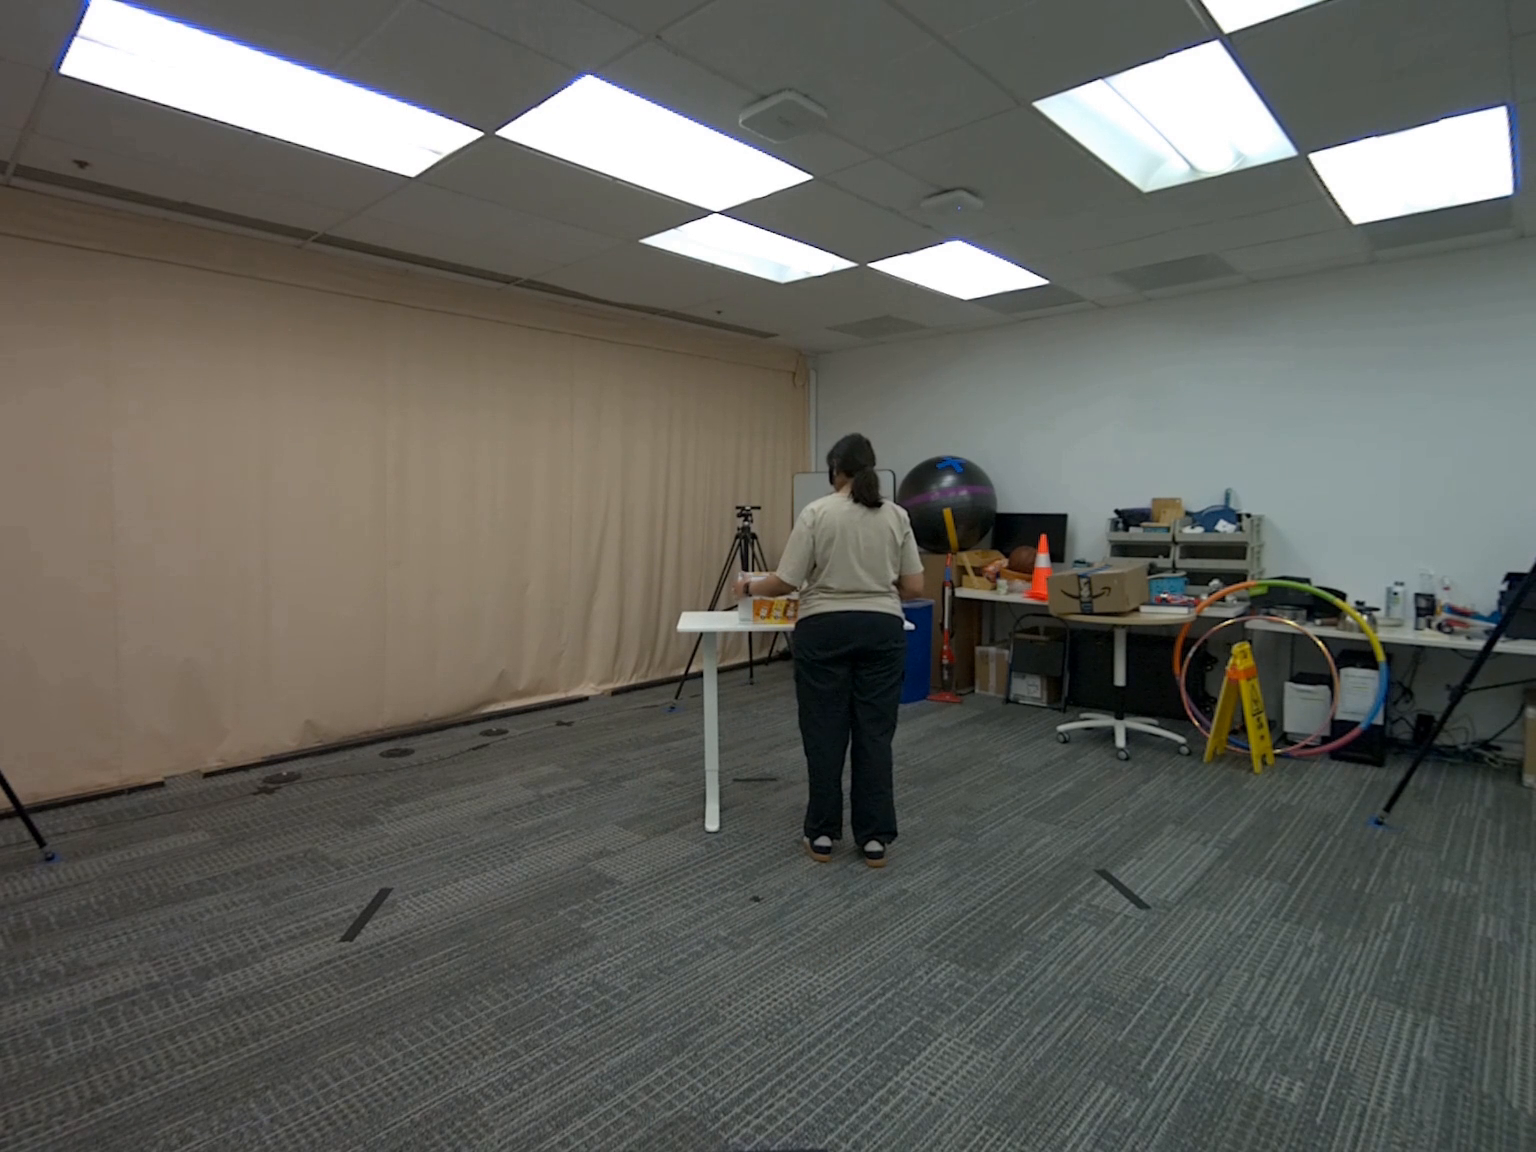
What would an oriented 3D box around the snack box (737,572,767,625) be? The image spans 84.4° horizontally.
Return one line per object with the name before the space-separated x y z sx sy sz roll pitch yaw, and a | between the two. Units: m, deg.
snack box | 0.074 0.096 3.803 0.405 0.205 0.341 -1 3 0
